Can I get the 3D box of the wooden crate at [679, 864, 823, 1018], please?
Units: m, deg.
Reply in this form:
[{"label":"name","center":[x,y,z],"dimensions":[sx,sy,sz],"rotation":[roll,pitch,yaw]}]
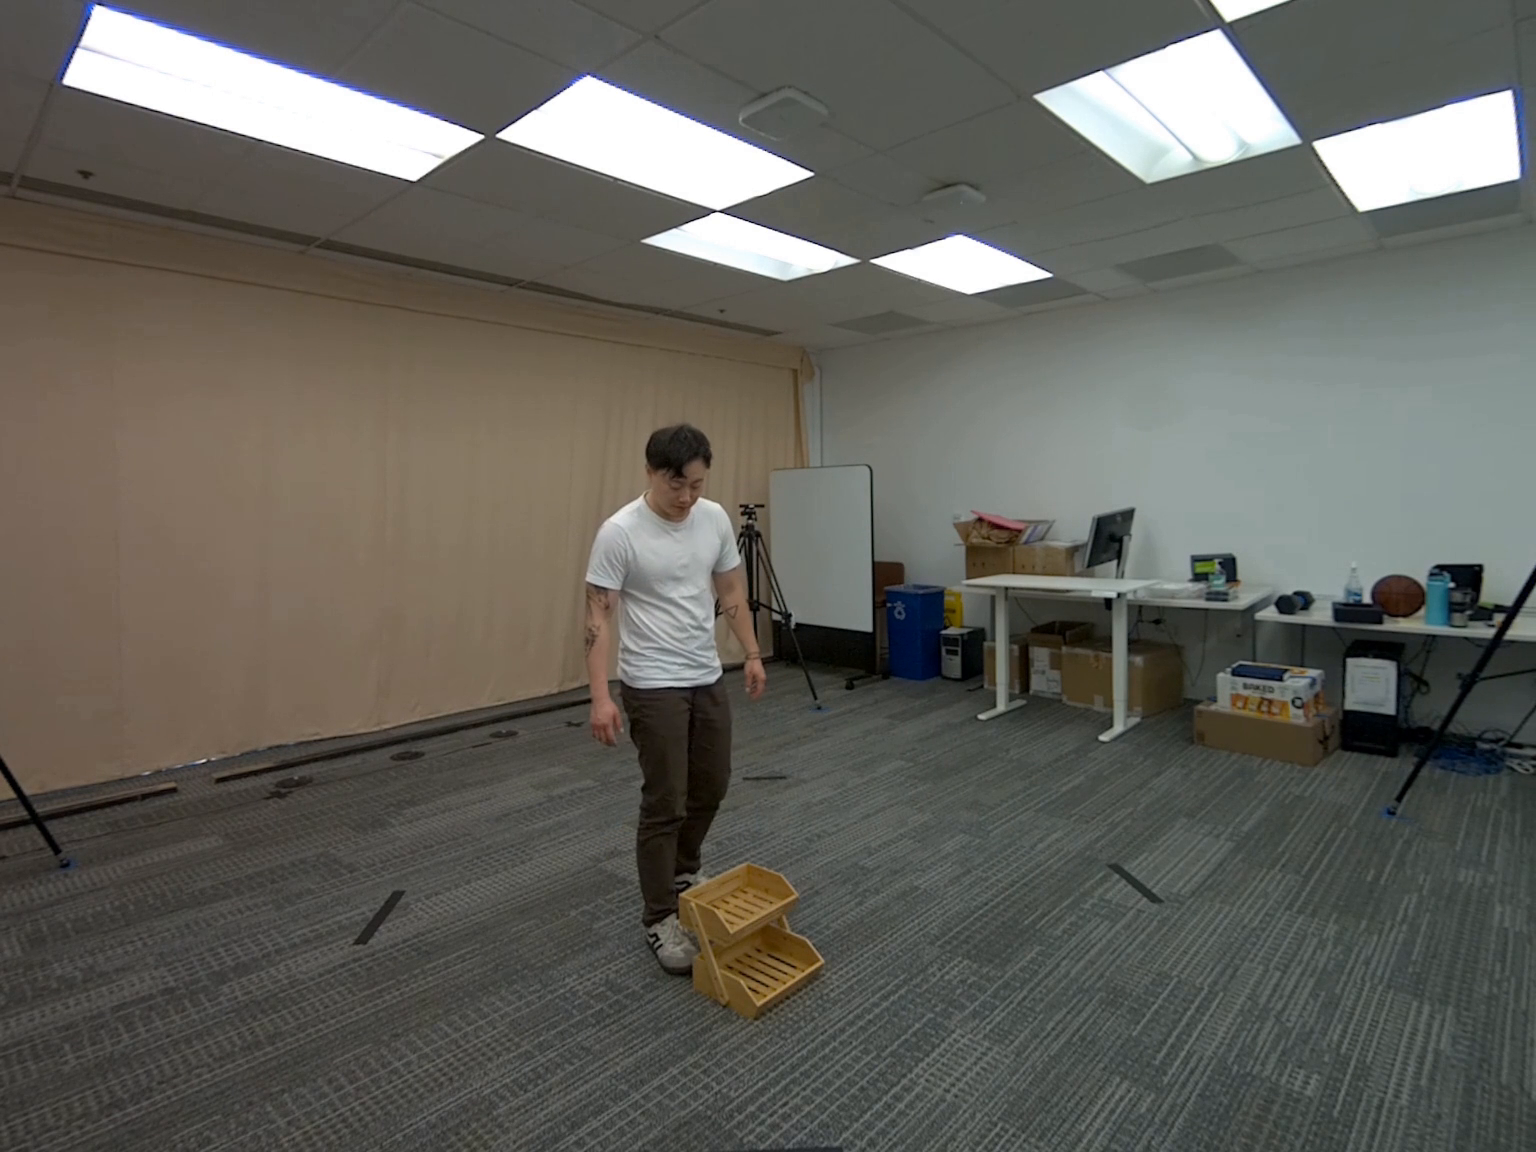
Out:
[{"label":"wooden crate","center":[-0.039,1.054,2.457],"dimensions":[0.312,0.273,0.315],"rotation":[1,4,42]}]
